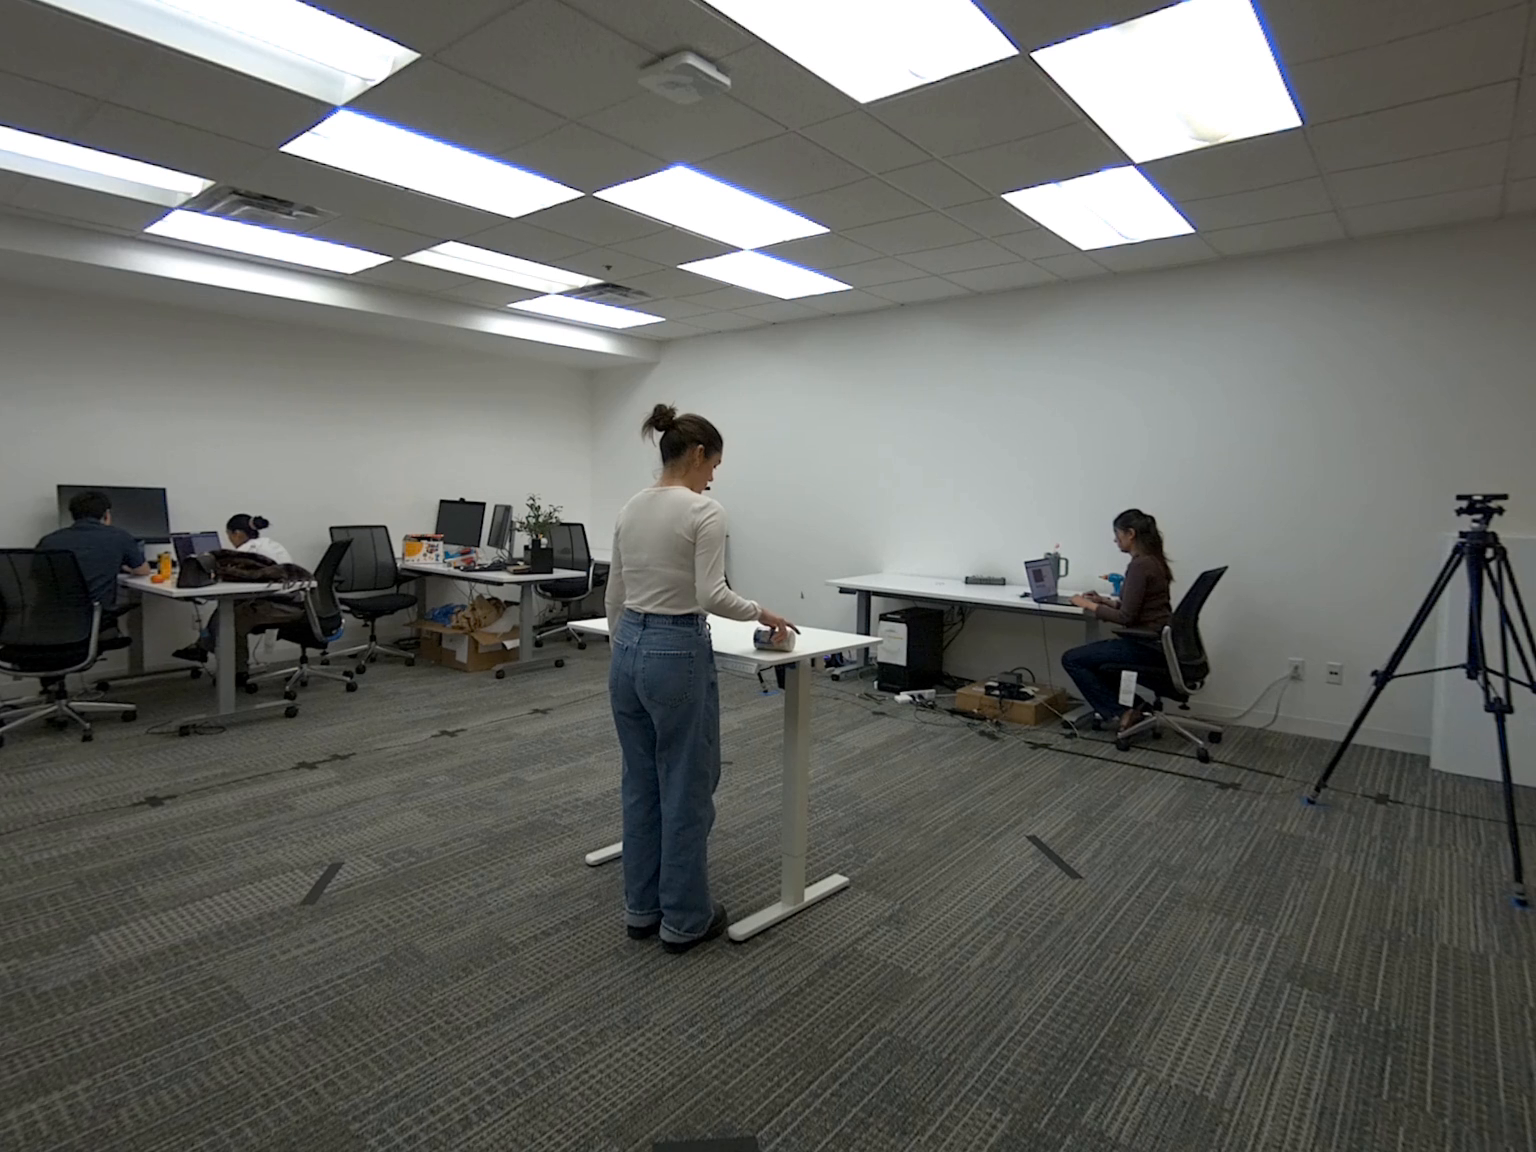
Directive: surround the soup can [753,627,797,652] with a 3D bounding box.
[{"bbox_3d":[0.011,0.197,2.645,0.123,0.067,0.066,3,4,13],"label":"soup can"}]
